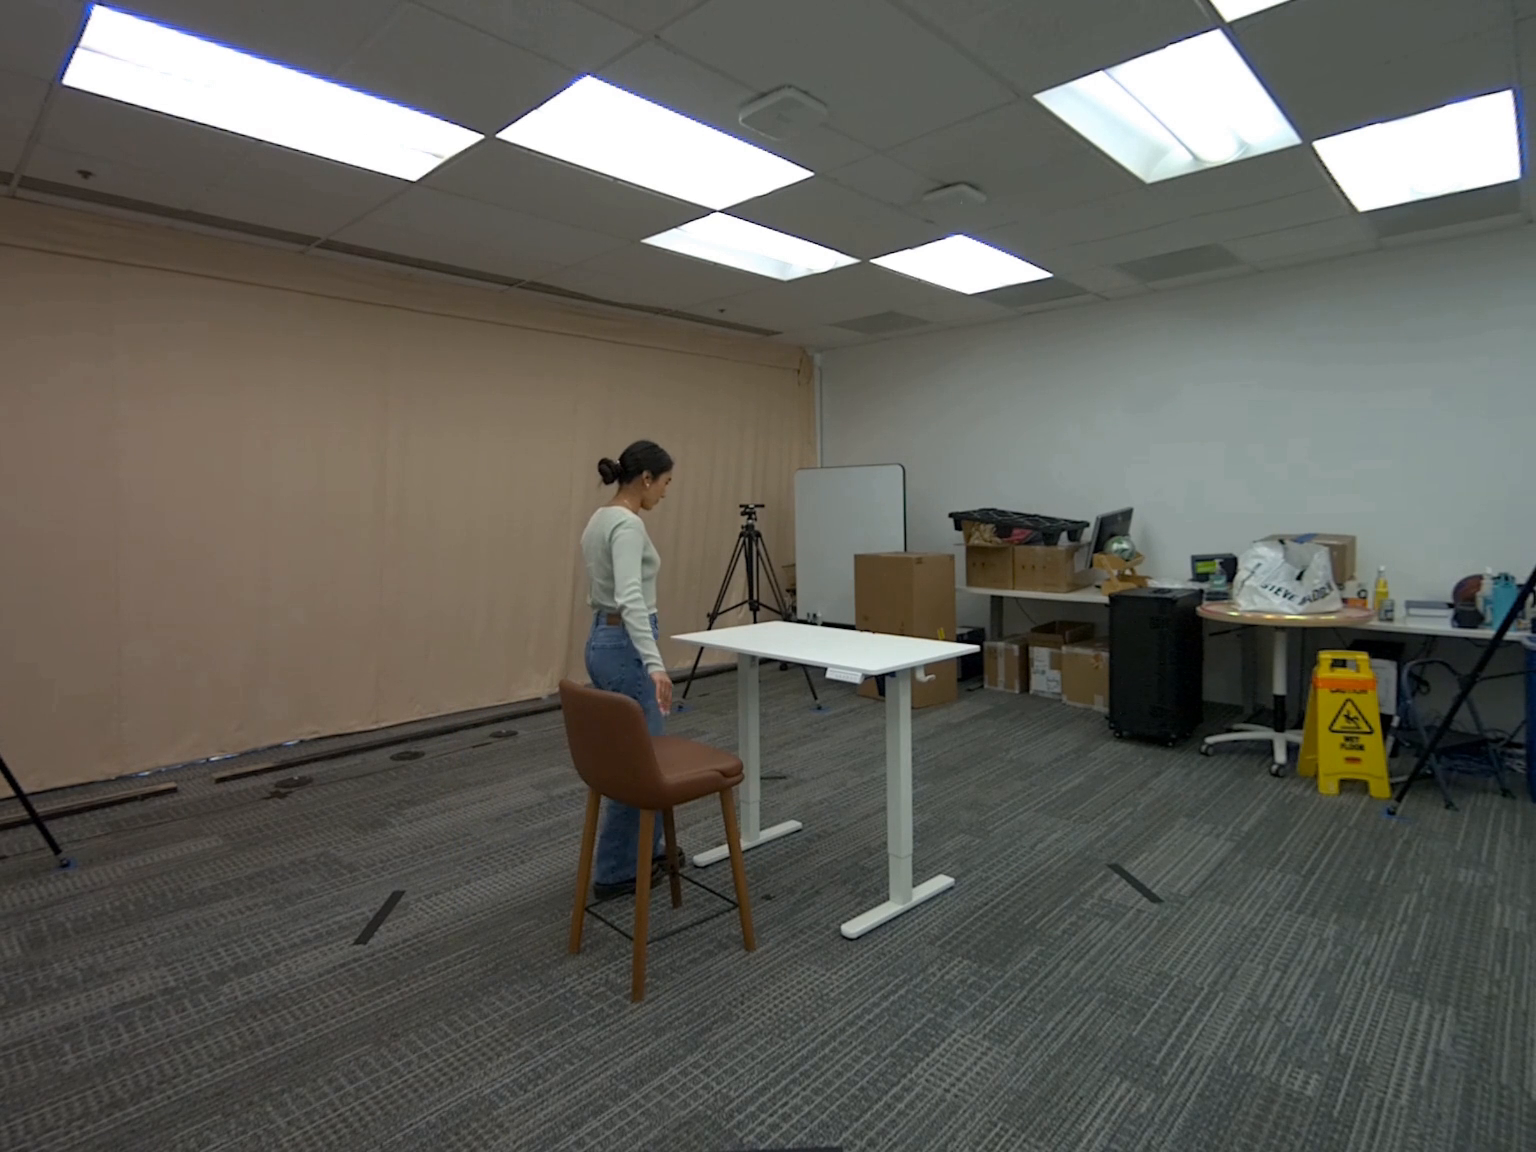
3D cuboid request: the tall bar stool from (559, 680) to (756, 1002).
[{"bbox_3d":[-0.342,0.738,2.618,0.454,0.887,0.471,-6,6,-42],"label":"tall bar stool"}]
